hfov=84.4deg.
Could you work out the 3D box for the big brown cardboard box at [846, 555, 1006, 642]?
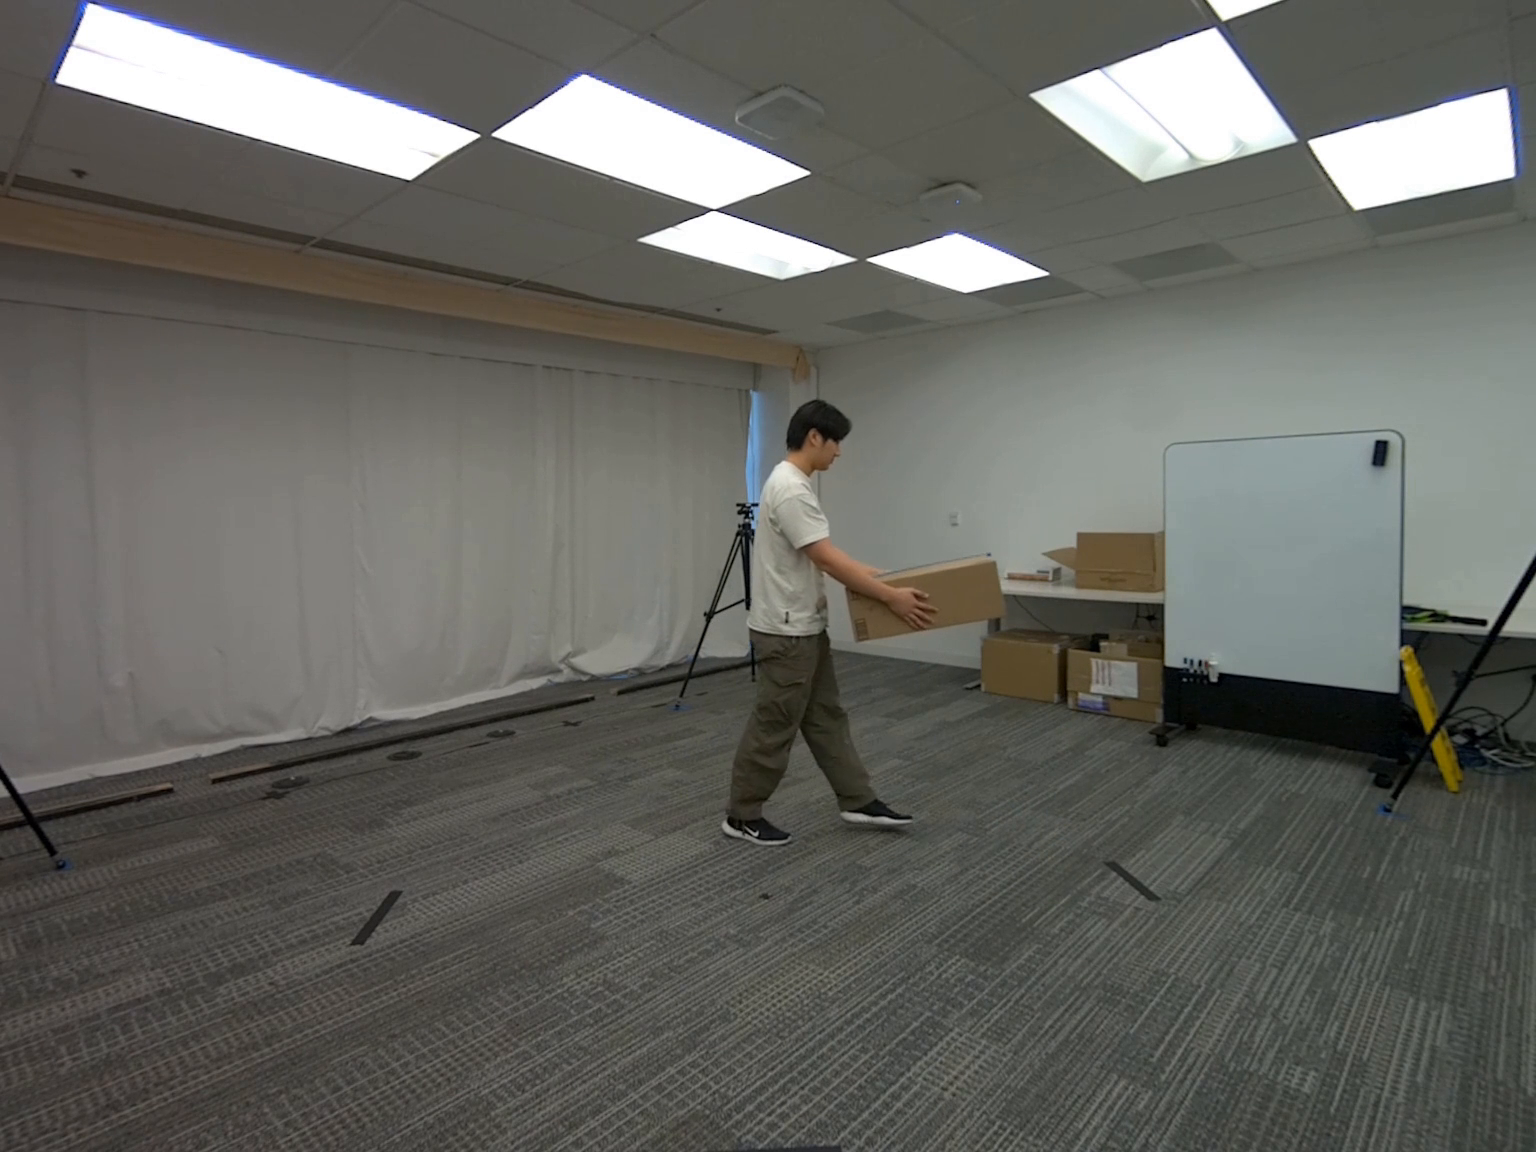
[{"bbox_3d":[0.622,0.072,3.365,0.593,0.233,0.415,-10,2,7],"label":"big brown cardboard box"}]
